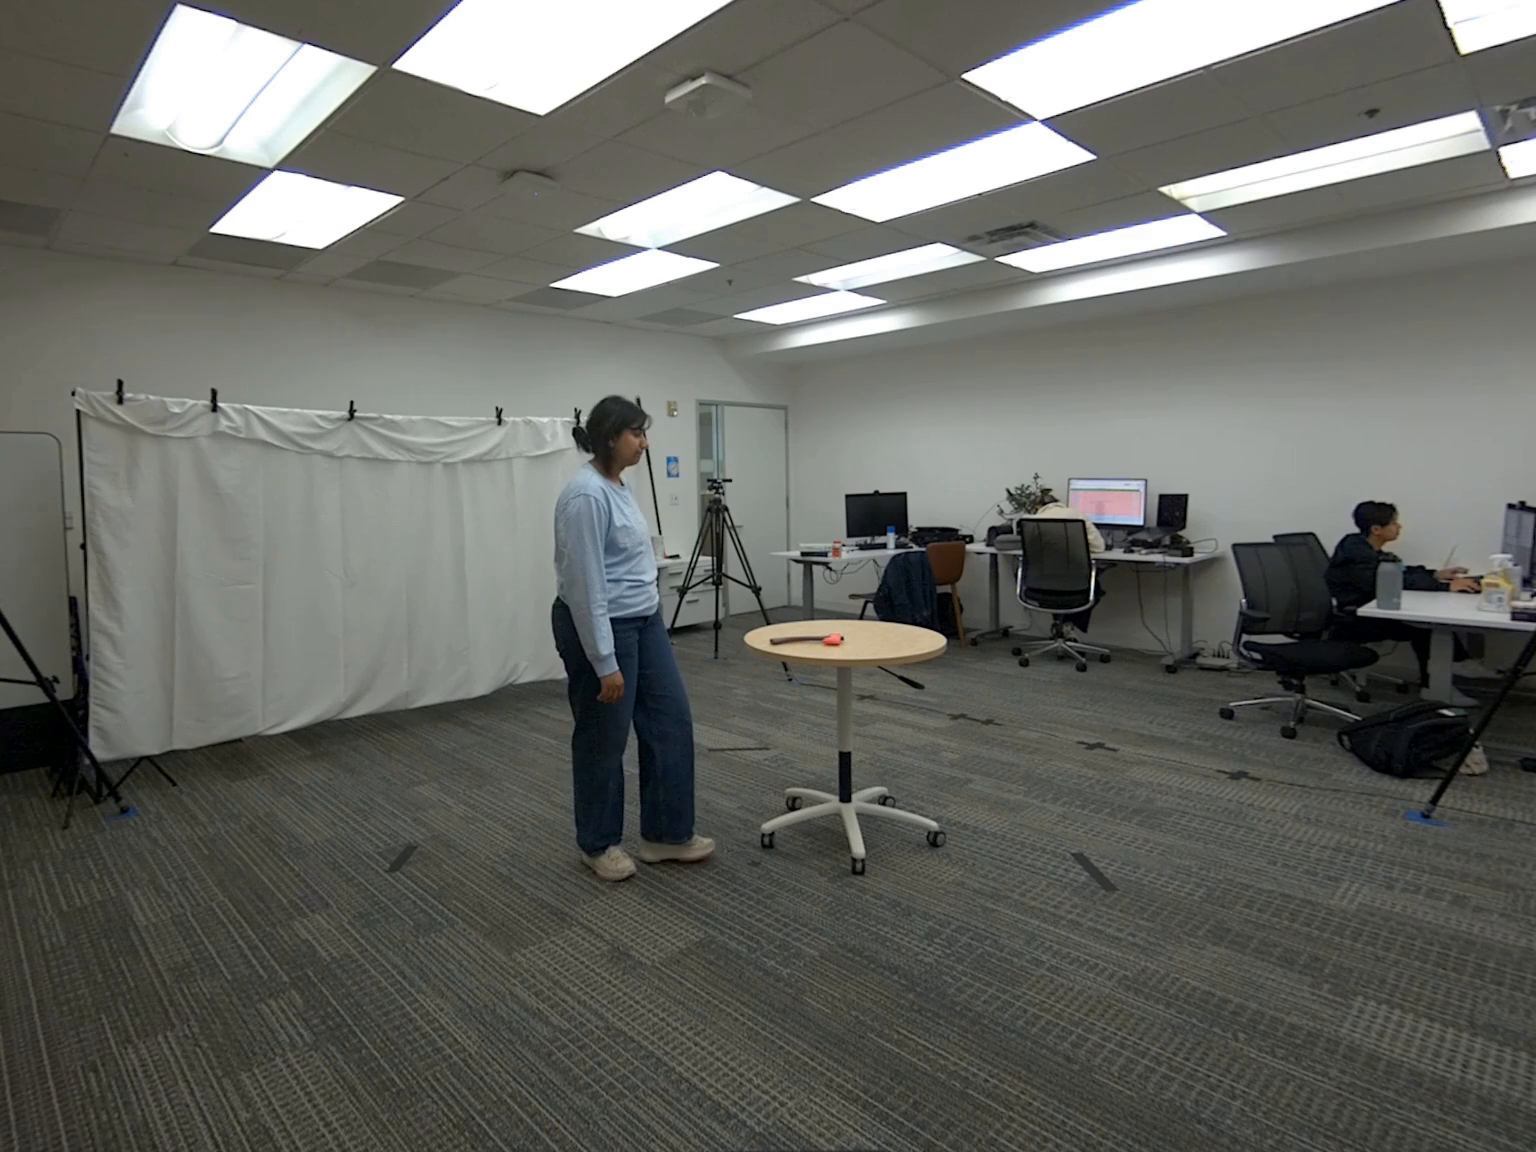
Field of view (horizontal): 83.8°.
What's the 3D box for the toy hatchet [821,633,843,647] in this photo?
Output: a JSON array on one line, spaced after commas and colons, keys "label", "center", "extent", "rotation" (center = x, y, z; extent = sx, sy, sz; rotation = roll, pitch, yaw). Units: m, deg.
[{"label": "toy hatchet", "center": [0.160, 0.243, 3.150], "extent": [0.266, 0.029, 0.134], "rotation": [-5, 11, -15]}]
